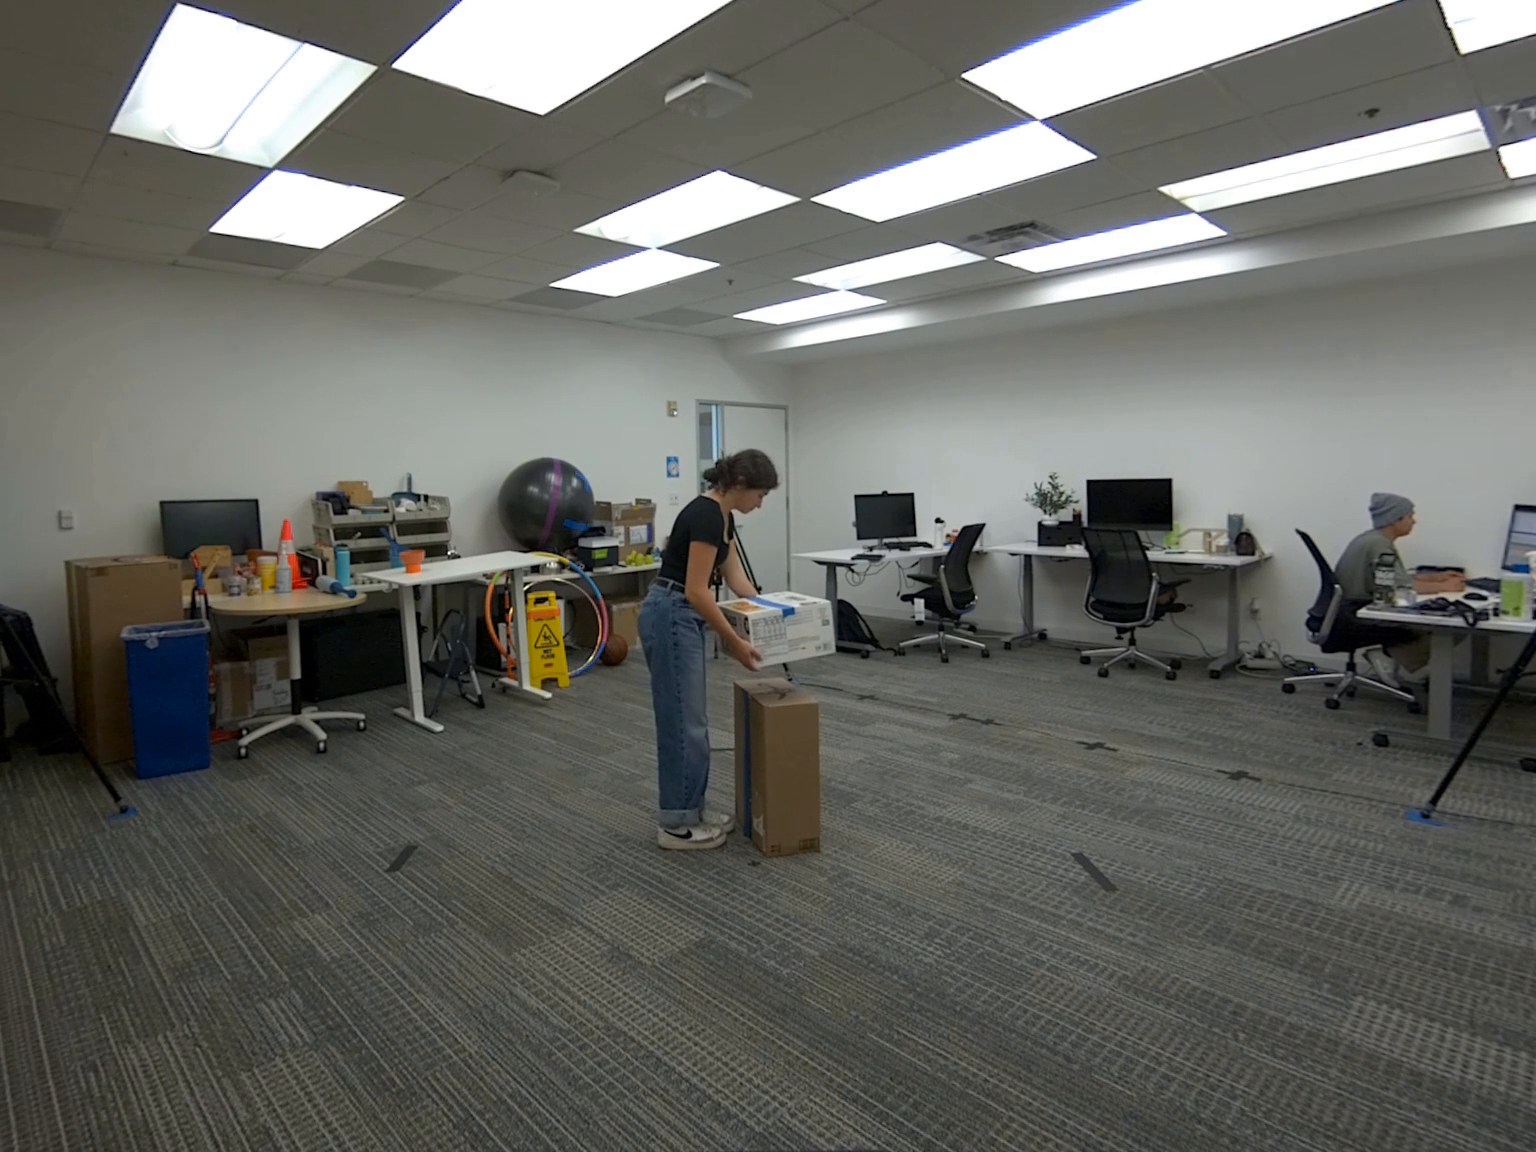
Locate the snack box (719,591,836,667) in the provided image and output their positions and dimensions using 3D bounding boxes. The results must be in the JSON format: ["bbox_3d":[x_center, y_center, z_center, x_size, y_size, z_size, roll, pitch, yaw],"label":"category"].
[{"bbox_3d":[0.011,0.205,3.355,0.335,0.204,0.414,-9,7,-21],"label":"snack box"}]
